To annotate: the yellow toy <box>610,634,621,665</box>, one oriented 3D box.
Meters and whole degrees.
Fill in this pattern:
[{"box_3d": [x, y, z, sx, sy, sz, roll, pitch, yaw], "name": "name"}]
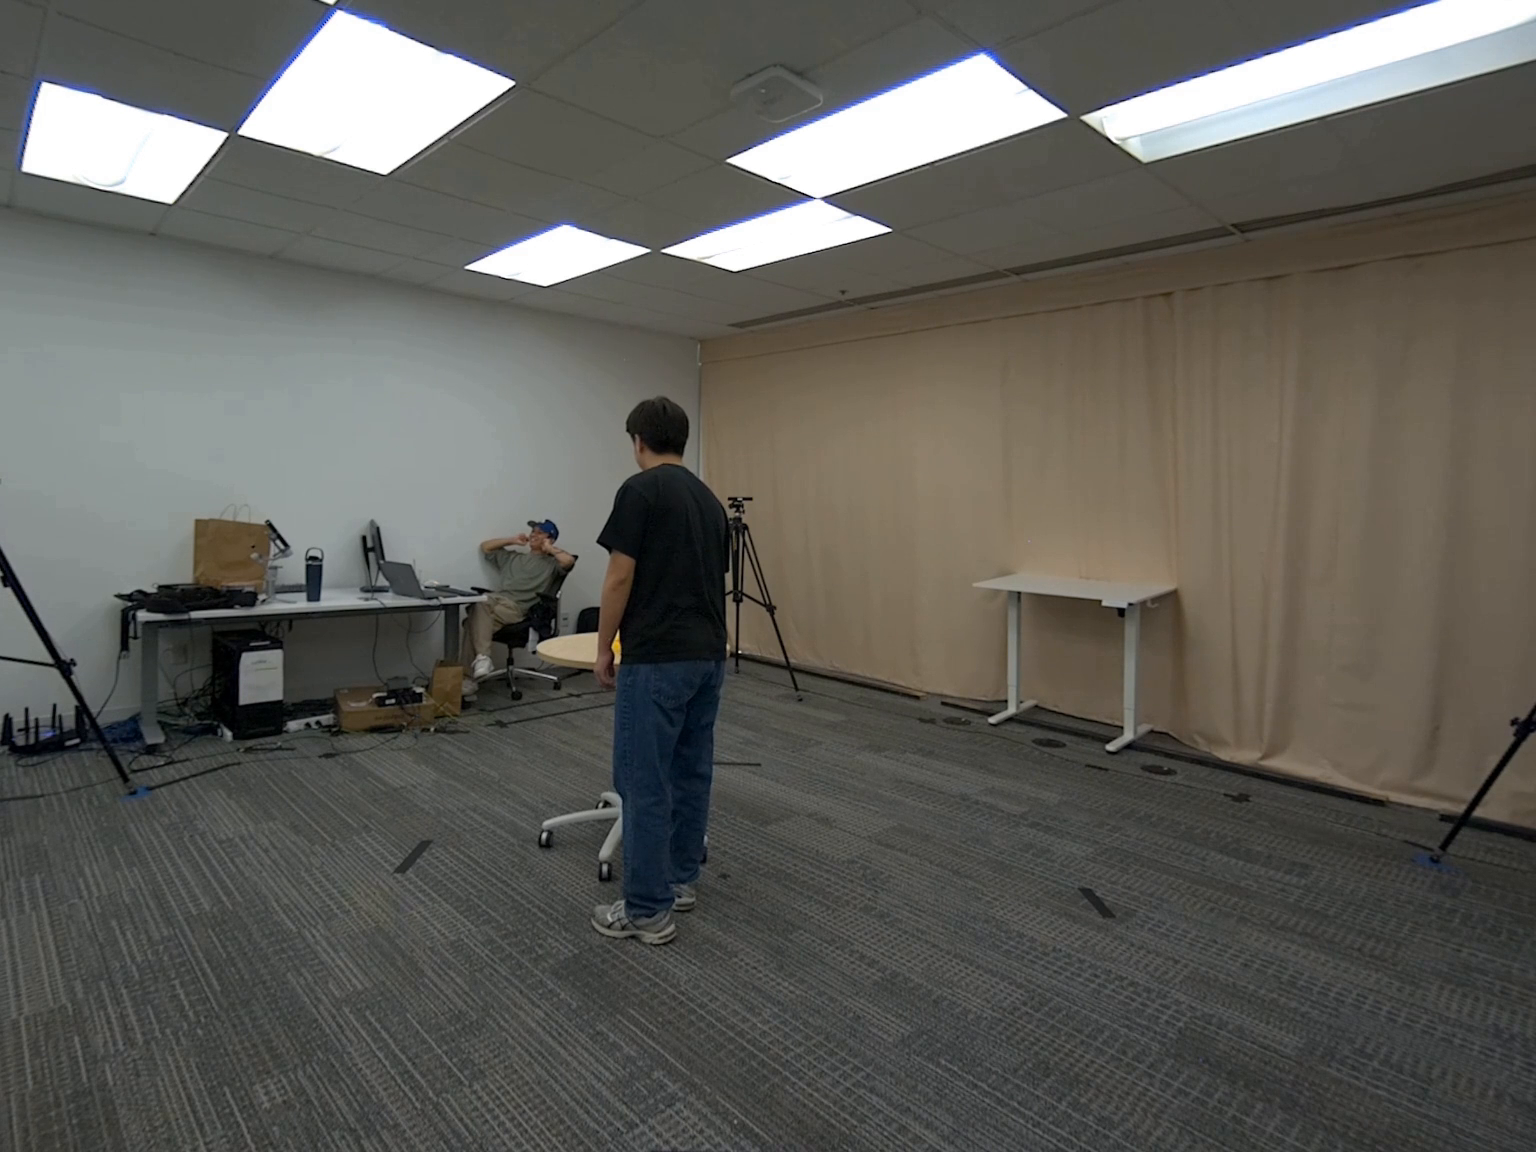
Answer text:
[{"box_3d": [-0.521, 0.174, 3.295, 0.209, 0.230, 0.190, 3, 5, 27], "name": "yellow toy"}]
